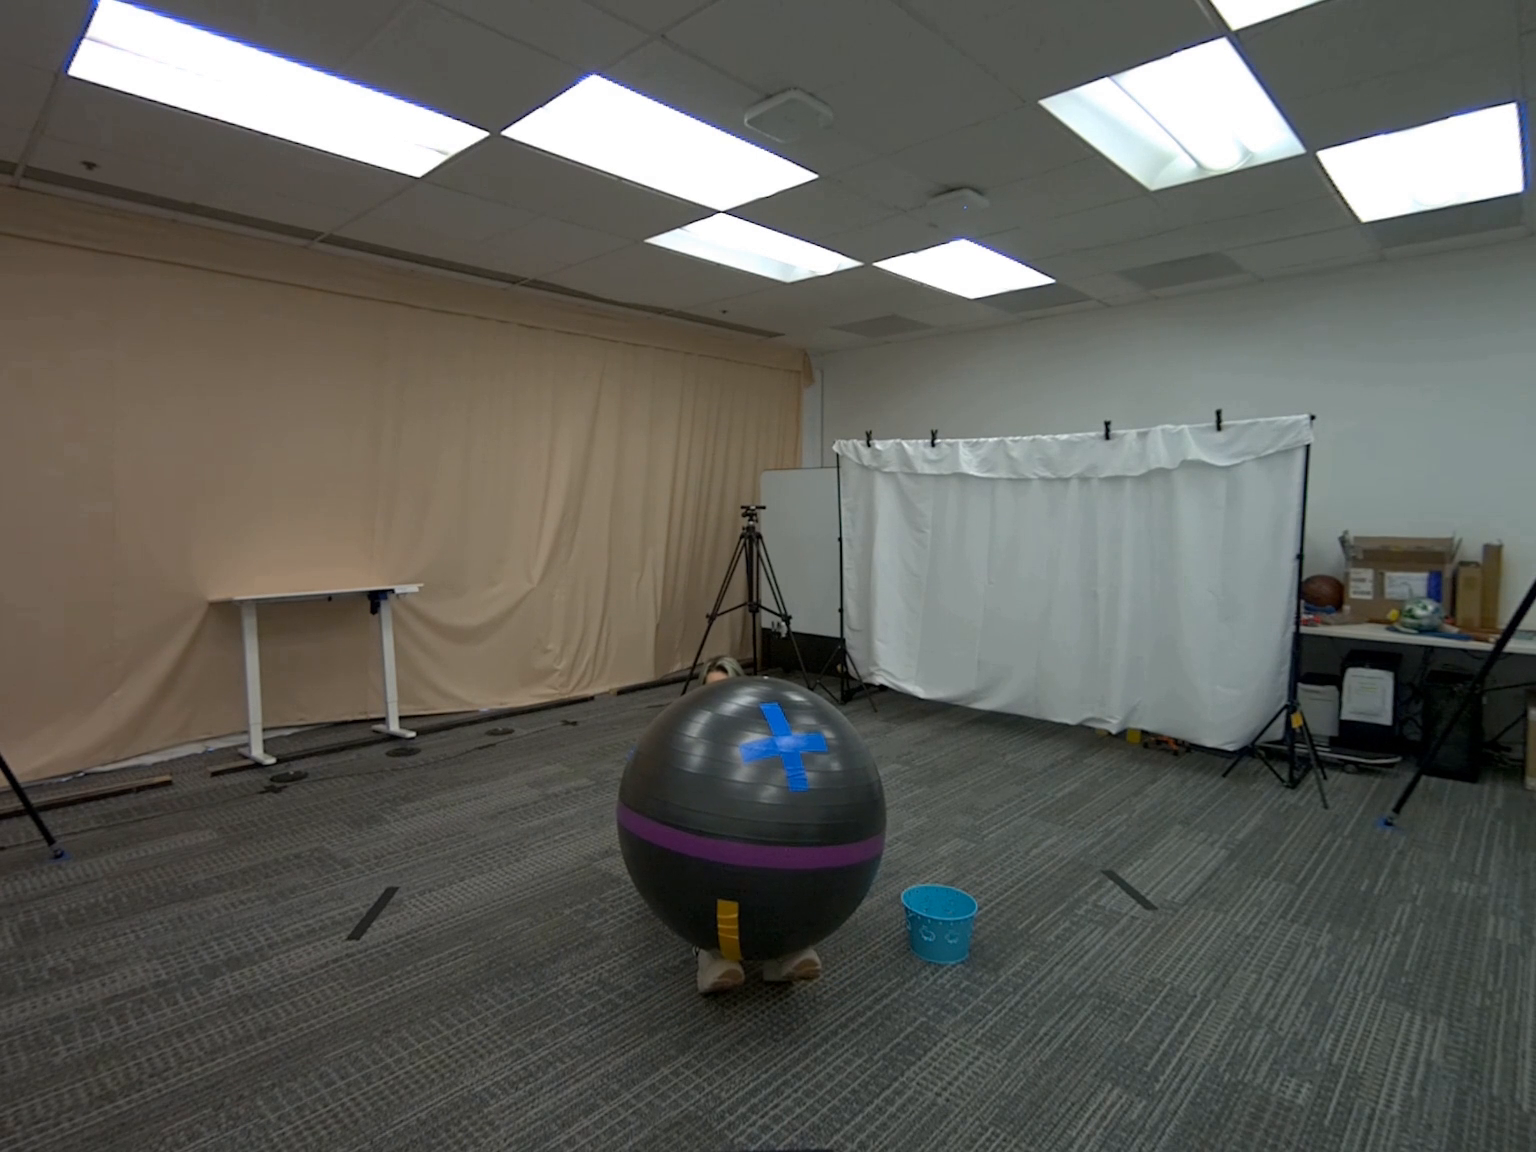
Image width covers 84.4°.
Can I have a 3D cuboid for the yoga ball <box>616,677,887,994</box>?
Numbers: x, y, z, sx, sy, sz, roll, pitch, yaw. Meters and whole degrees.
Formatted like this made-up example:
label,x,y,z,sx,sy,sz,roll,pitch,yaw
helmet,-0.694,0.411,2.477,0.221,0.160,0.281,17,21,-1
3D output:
label,x,y,z,sx,sy,sz,roll,pitch,yaw
yoga ball,-0.043,0.678,2.368,0.757,0.756,0.761,0,4,-2
